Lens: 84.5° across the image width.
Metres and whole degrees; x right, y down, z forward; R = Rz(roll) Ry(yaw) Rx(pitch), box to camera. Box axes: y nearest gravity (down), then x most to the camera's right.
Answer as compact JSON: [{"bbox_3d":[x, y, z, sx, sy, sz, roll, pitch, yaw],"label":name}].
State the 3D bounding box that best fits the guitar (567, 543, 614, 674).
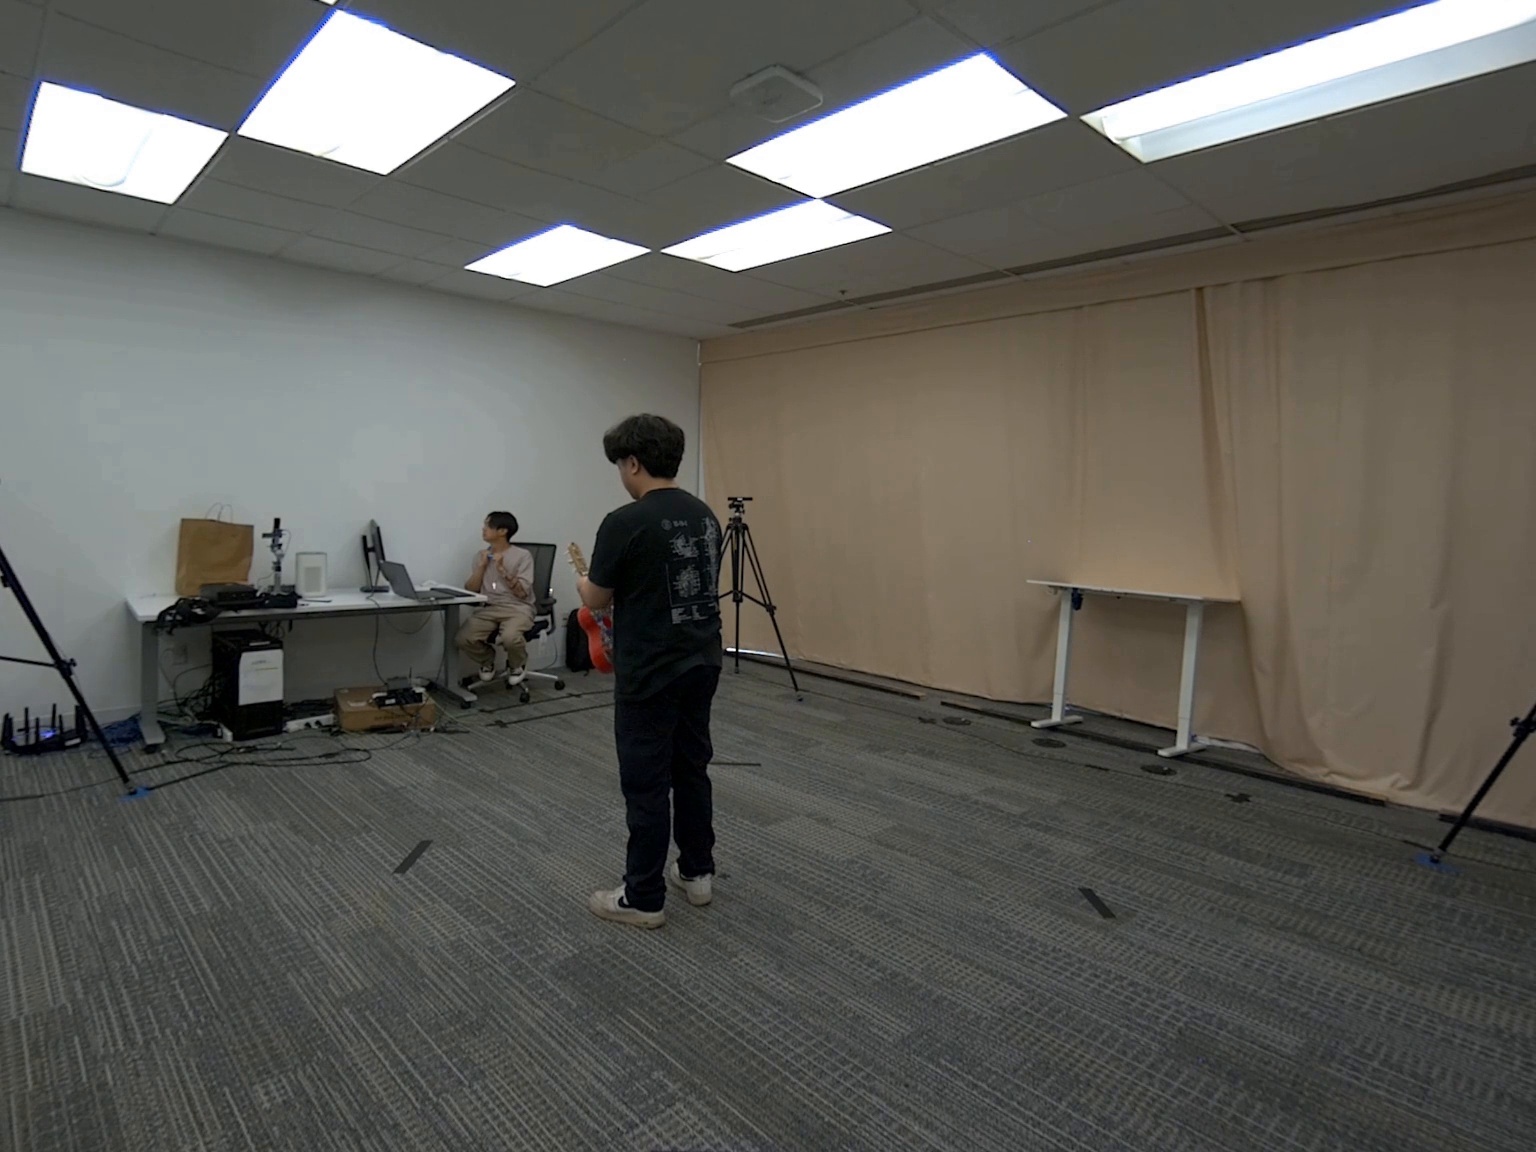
[{"bbox_3d":[-0.631,0.114,3.094,0.071,0.505,0.189,-29,-16,24],"label":"guitar"}]
